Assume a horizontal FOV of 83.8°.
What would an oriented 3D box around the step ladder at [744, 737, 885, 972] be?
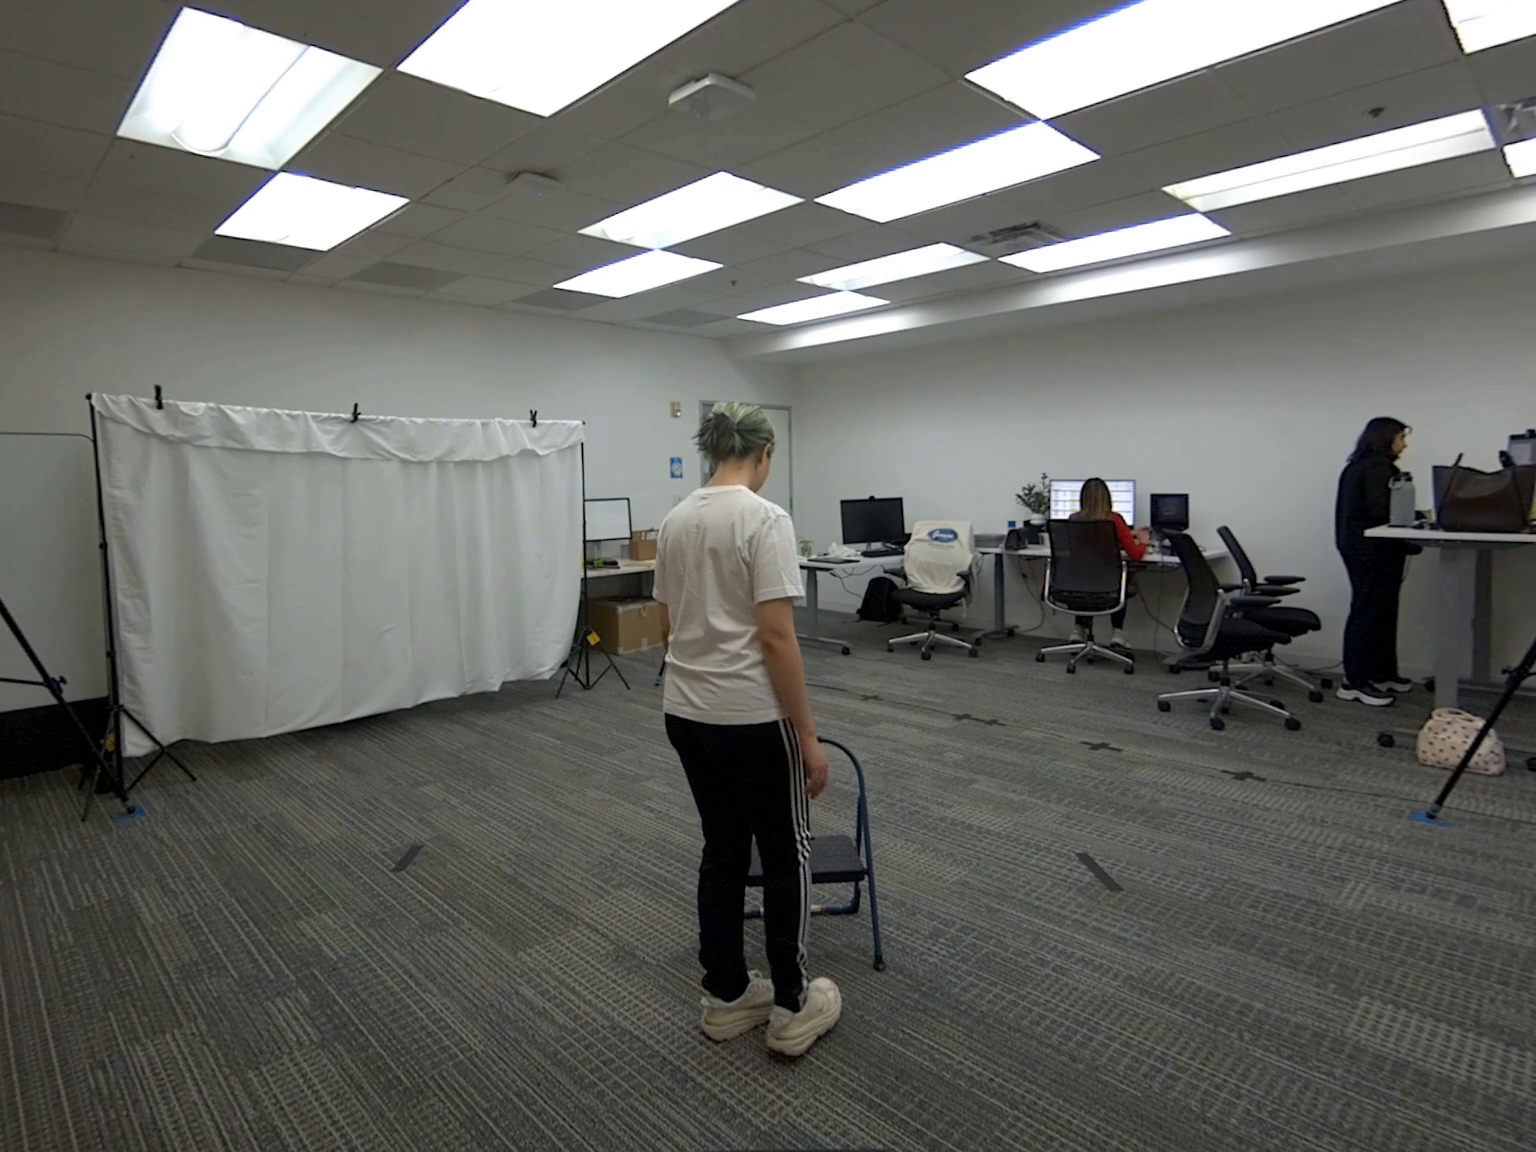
[{"bbox_3d":[0.107,0.808,2.565,0.429,0.604,0.352,-2,5,-4],"label":"step ladder"}]
